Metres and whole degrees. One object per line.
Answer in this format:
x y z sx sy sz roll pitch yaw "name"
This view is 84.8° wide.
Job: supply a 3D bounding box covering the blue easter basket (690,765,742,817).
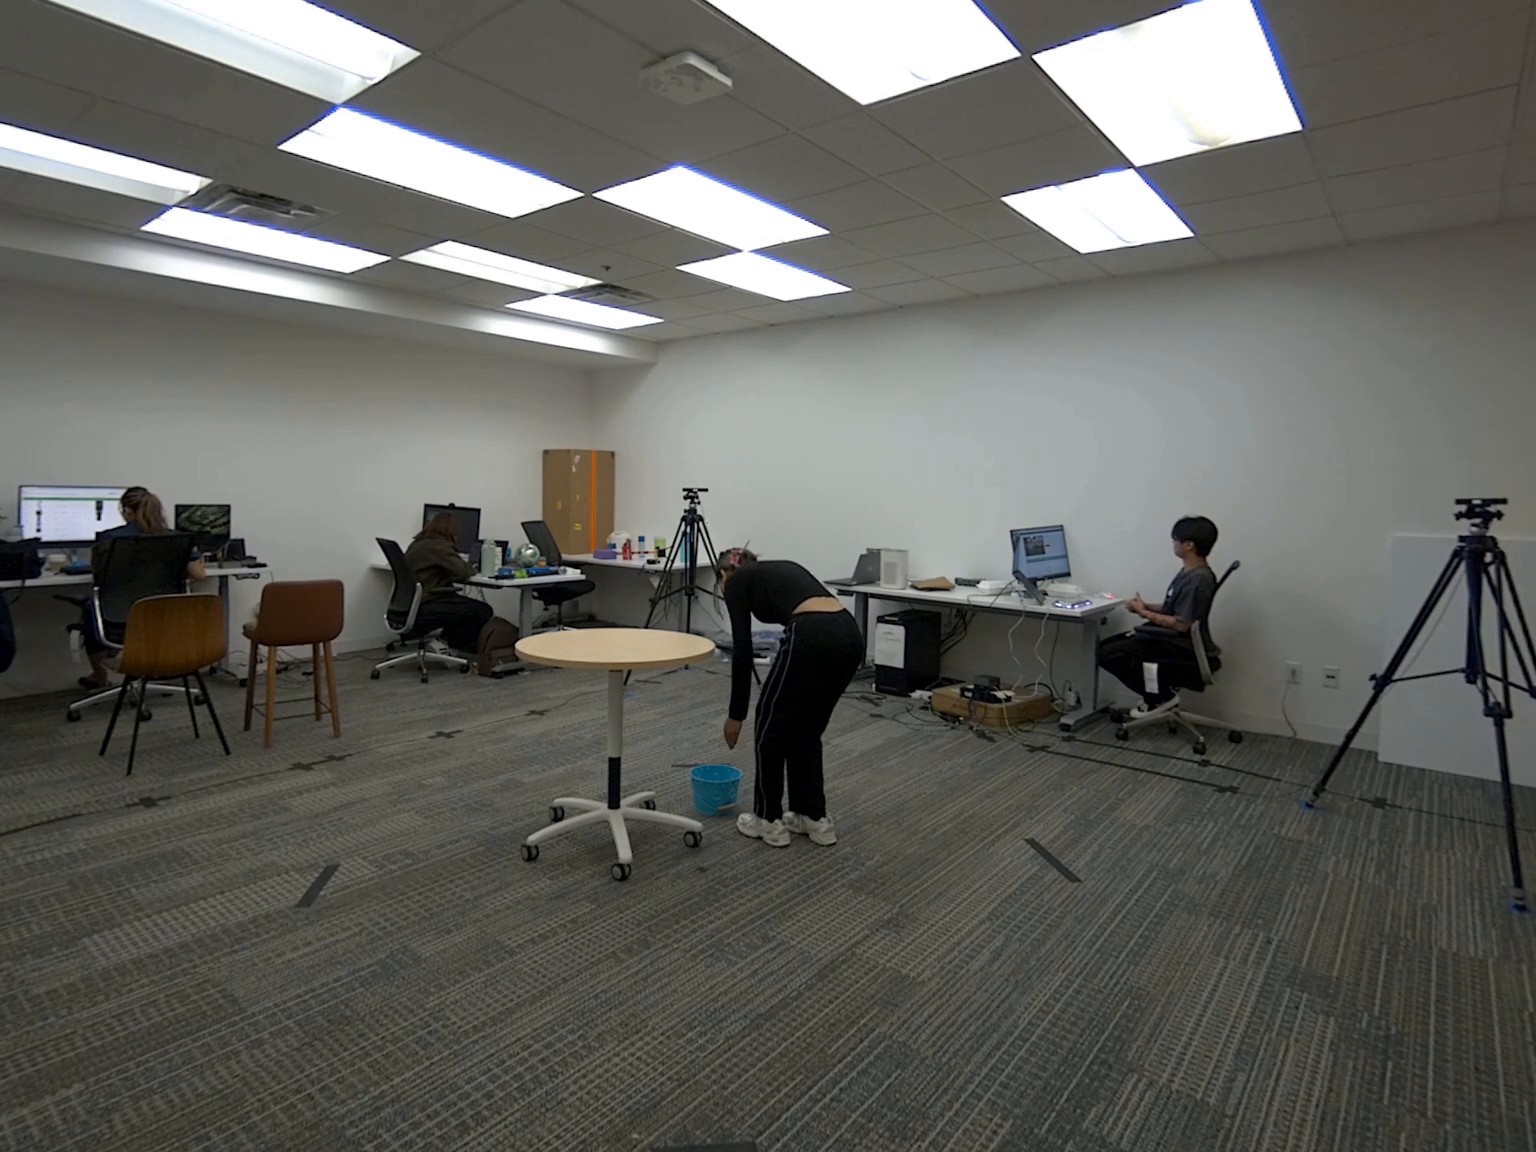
-0.243 0.933 3.717 0.243 0.155 0.245 1 5 -2 "blue easter basket"
